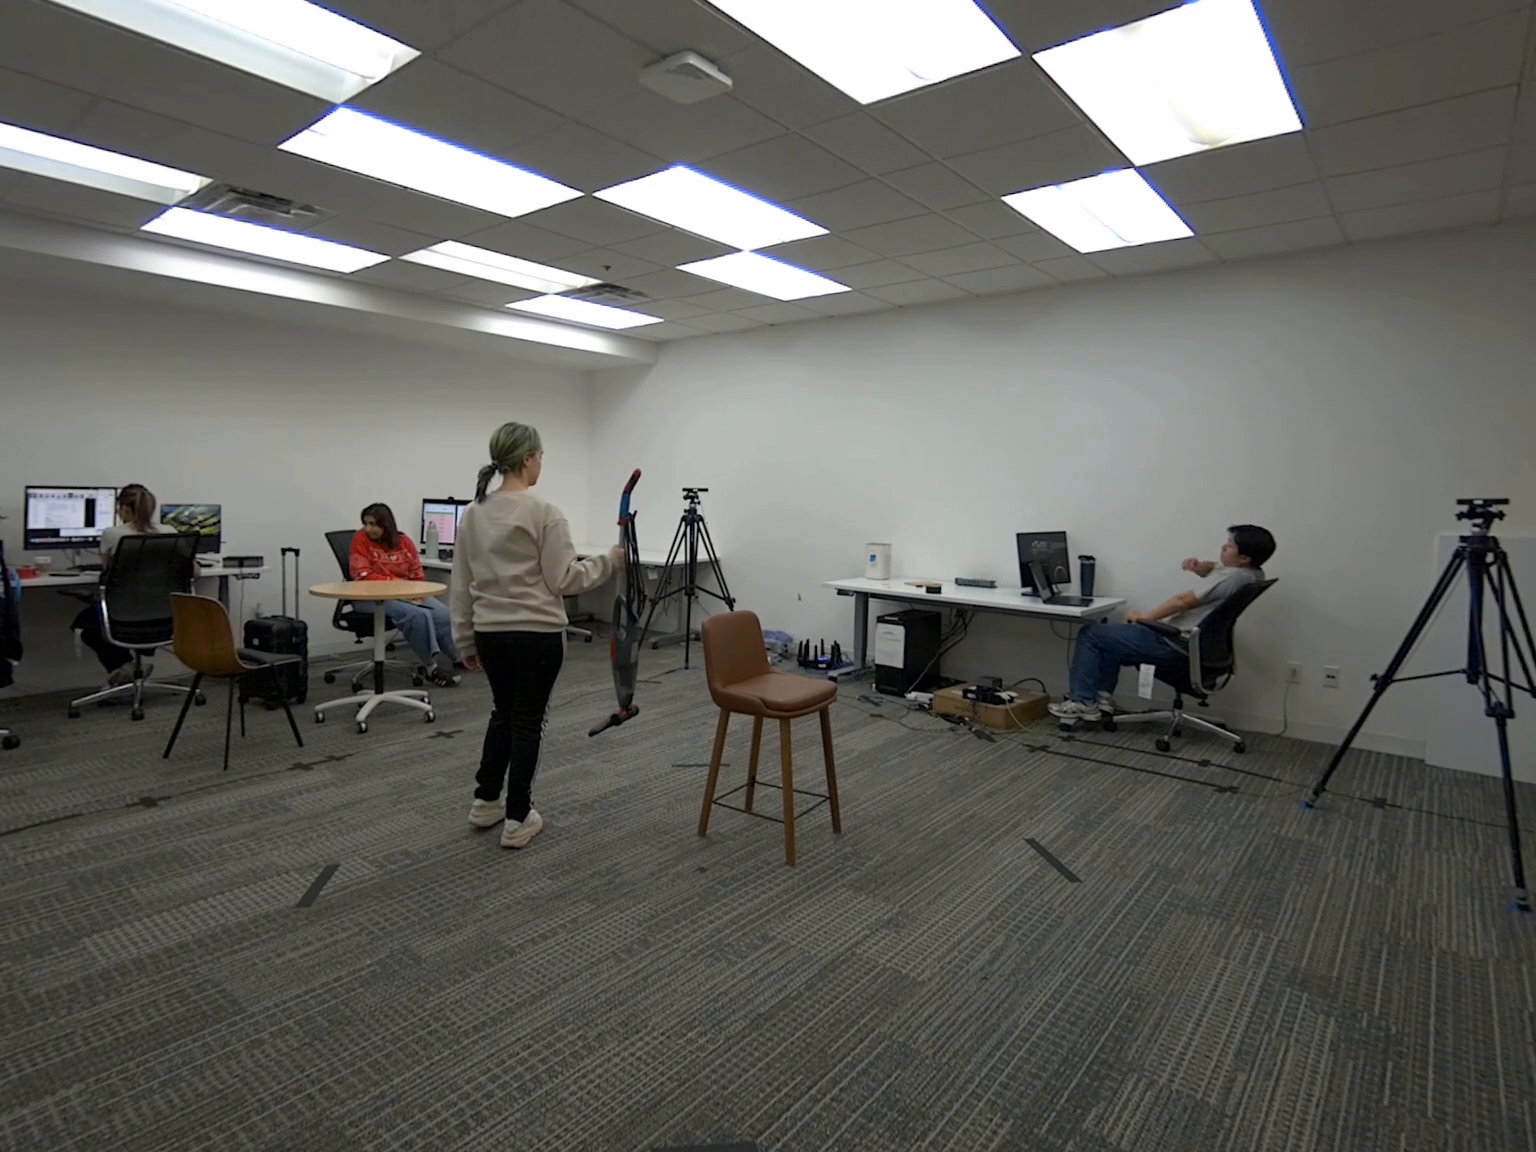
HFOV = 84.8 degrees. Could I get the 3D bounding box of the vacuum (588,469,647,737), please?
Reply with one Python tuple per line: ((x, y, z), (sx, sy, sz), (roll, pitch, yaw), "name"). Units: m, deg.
((-0.578, 0.101, 3.395), (0.146, 1.040, 0.251), (11, 11, 9), "vacuum")
